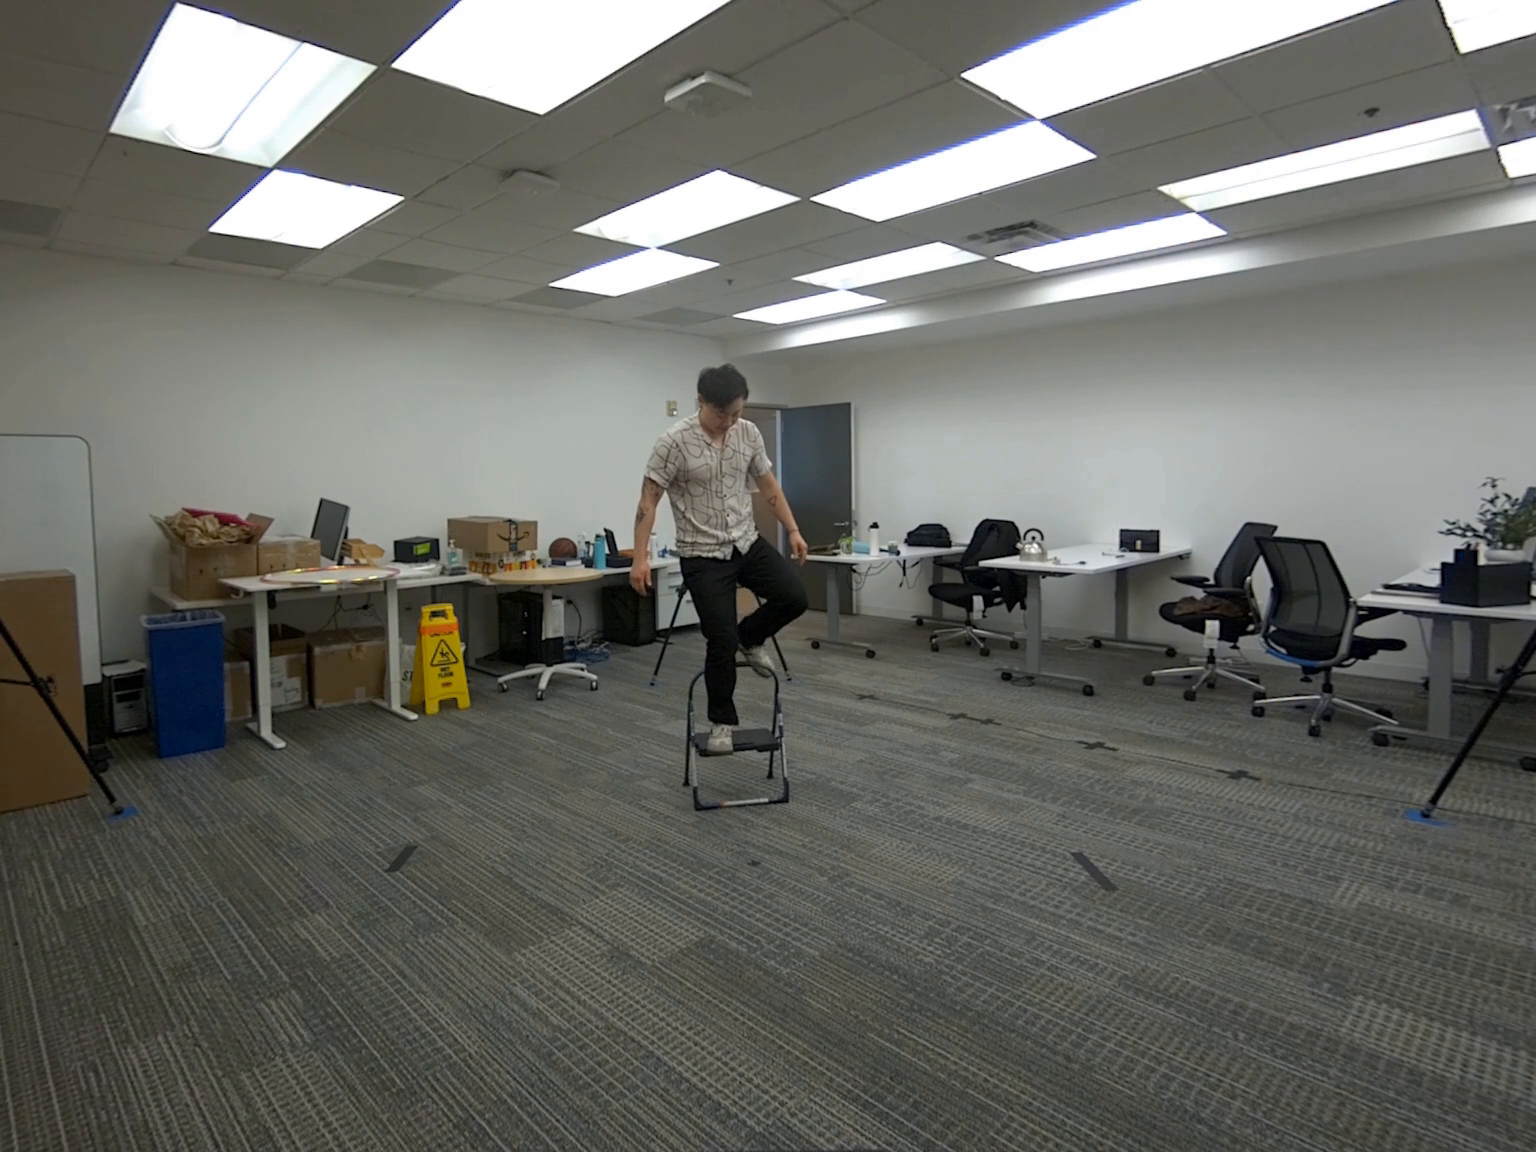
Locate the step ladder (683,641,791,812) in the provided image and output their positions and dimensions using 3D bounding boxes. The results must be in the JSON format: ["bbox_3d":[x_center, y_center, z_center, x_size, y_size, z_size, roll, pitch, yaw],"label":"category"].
[{"bbox_3d":[-0.156,0.671,3.795,0.426,0.604,0.354,-2,4,-12],"label":"step ladder"}]
